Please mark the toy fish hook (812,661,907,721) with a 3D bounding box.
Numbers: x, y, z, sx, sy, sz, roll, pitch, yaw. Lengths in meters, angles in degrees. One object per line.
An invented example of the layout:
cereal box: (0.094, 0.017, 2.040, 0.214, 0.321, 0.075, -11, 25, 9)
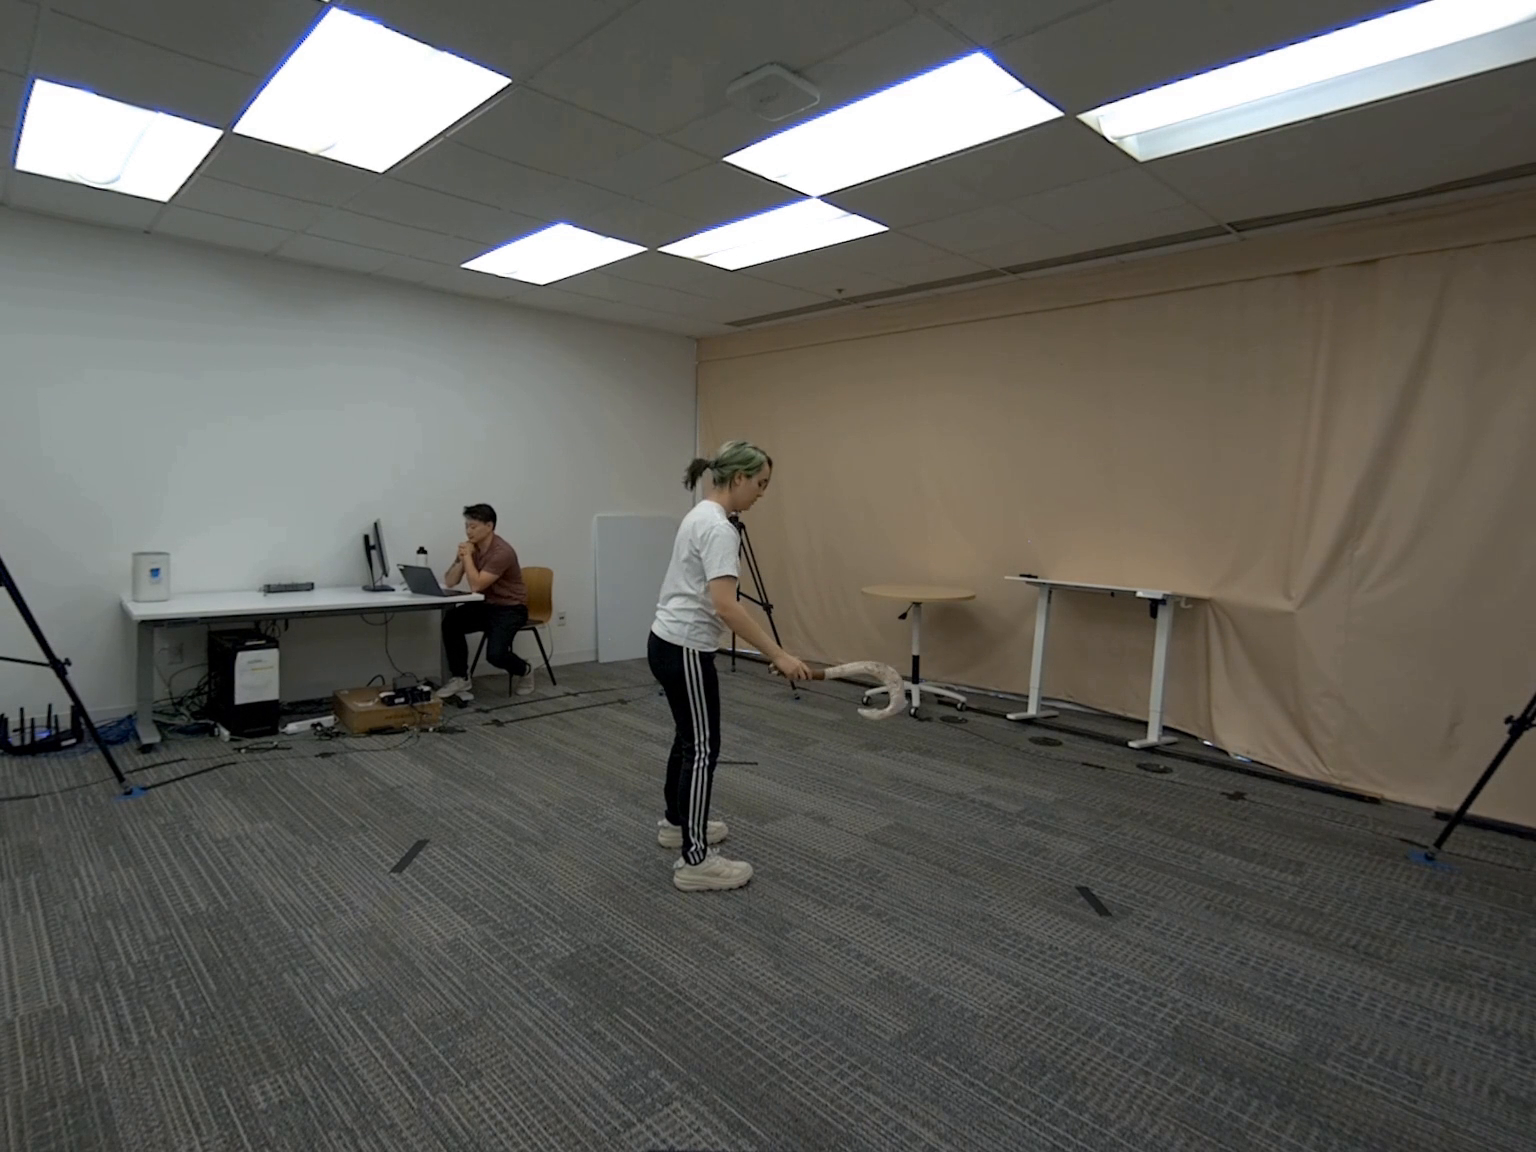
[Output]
toy fish hook: (0.238, 0.392, 2.935, 0.501, 0.230, 0.047, 5, -42, -13)
